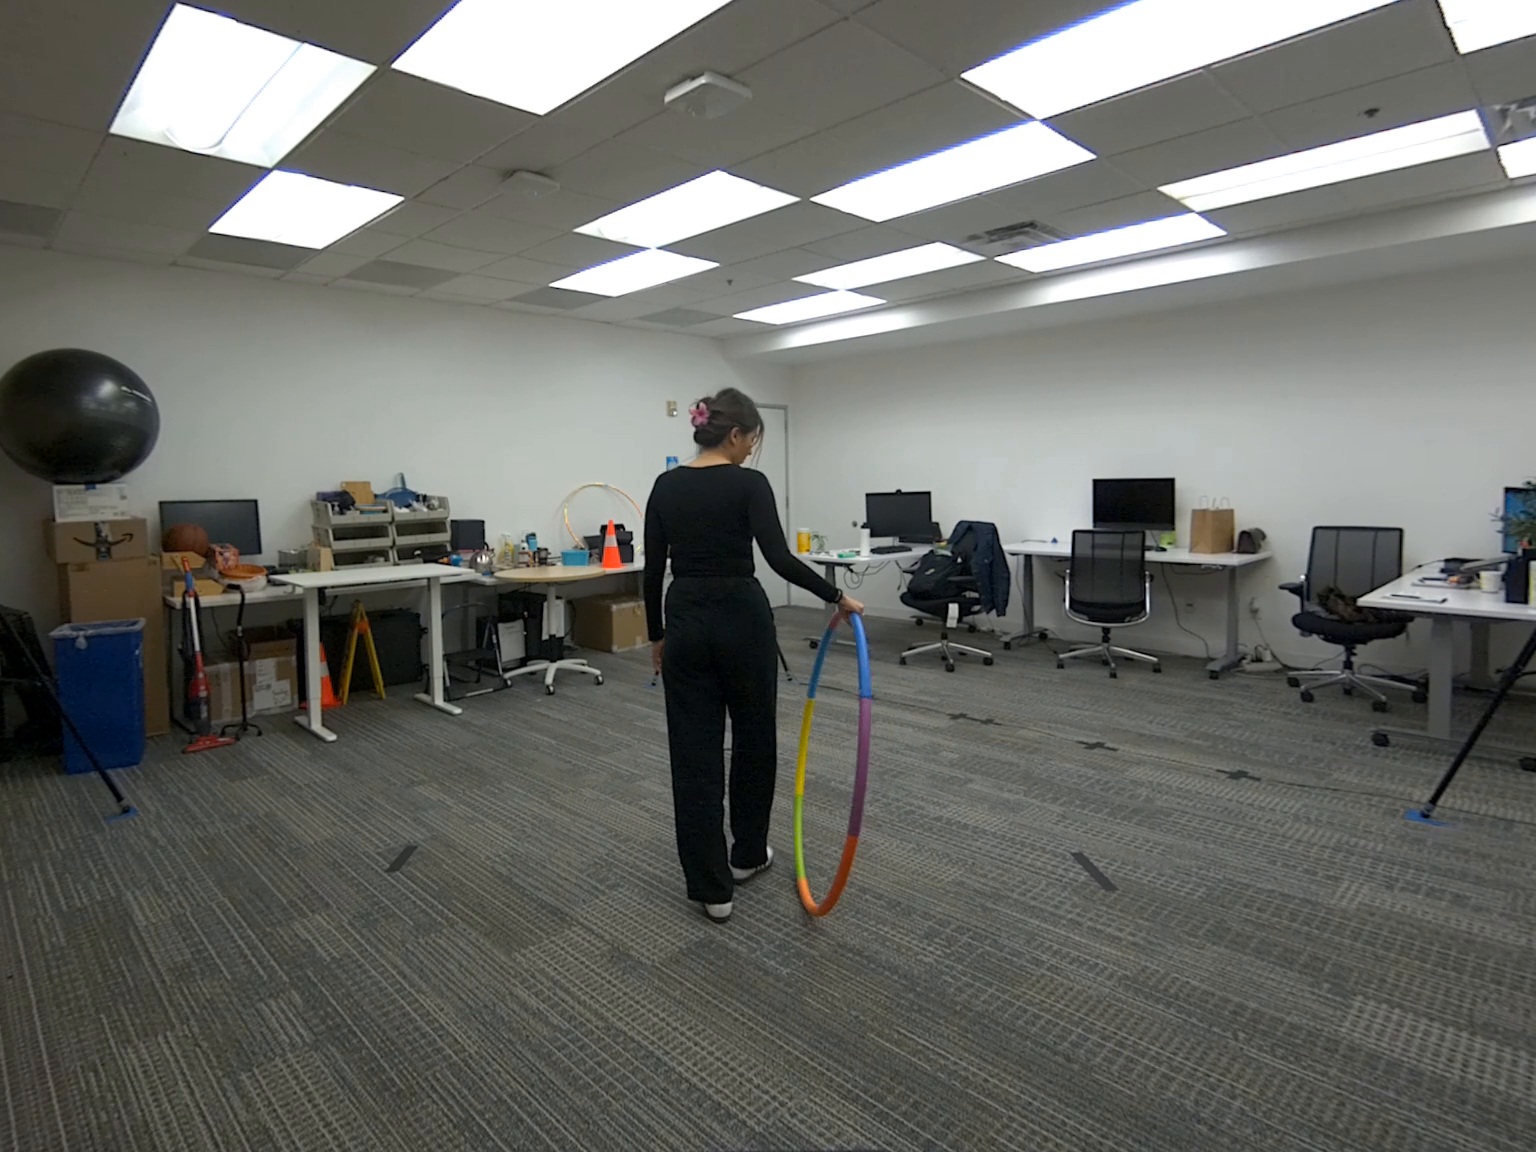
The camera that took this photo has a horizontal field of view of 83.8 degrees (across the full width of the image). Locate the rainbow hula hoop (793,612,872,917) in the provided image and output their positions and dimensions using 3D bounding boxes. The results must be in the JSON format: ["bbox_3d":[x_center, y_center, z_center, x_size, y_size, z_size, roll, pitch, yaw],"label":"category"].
[{"bbox_3d":[0.188,0.590,2.827,0.035,0.976,0.986,8,4,-6],"label":"rainbow hula hoop"}]
